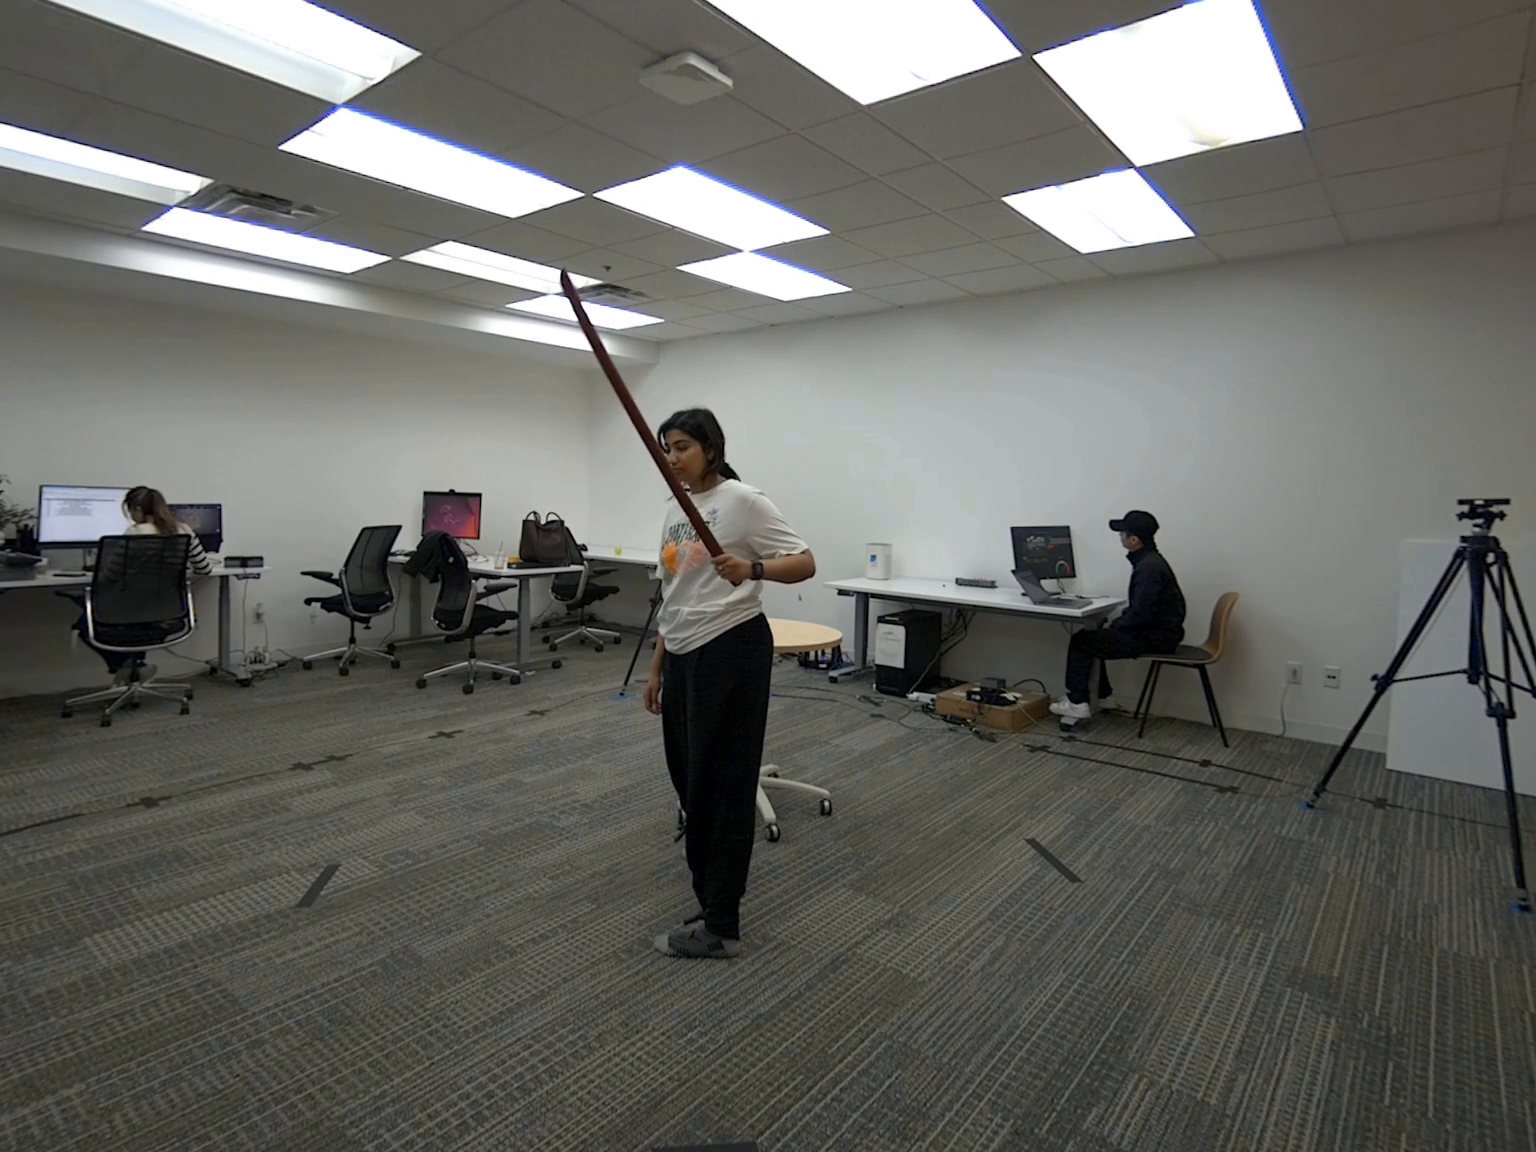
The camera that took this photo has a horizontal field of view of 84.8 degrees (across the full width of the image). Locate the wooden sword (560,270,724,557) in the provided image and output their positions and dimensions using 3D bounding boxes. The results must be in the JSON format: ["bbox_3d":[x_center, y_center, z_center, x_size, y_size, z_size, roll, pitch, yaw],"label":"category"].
[{"bbox_3d":[-0.318,-0.353,2.290,0.052,0.991,0.024,-13,31,25],"label":"wooden sword"}]
